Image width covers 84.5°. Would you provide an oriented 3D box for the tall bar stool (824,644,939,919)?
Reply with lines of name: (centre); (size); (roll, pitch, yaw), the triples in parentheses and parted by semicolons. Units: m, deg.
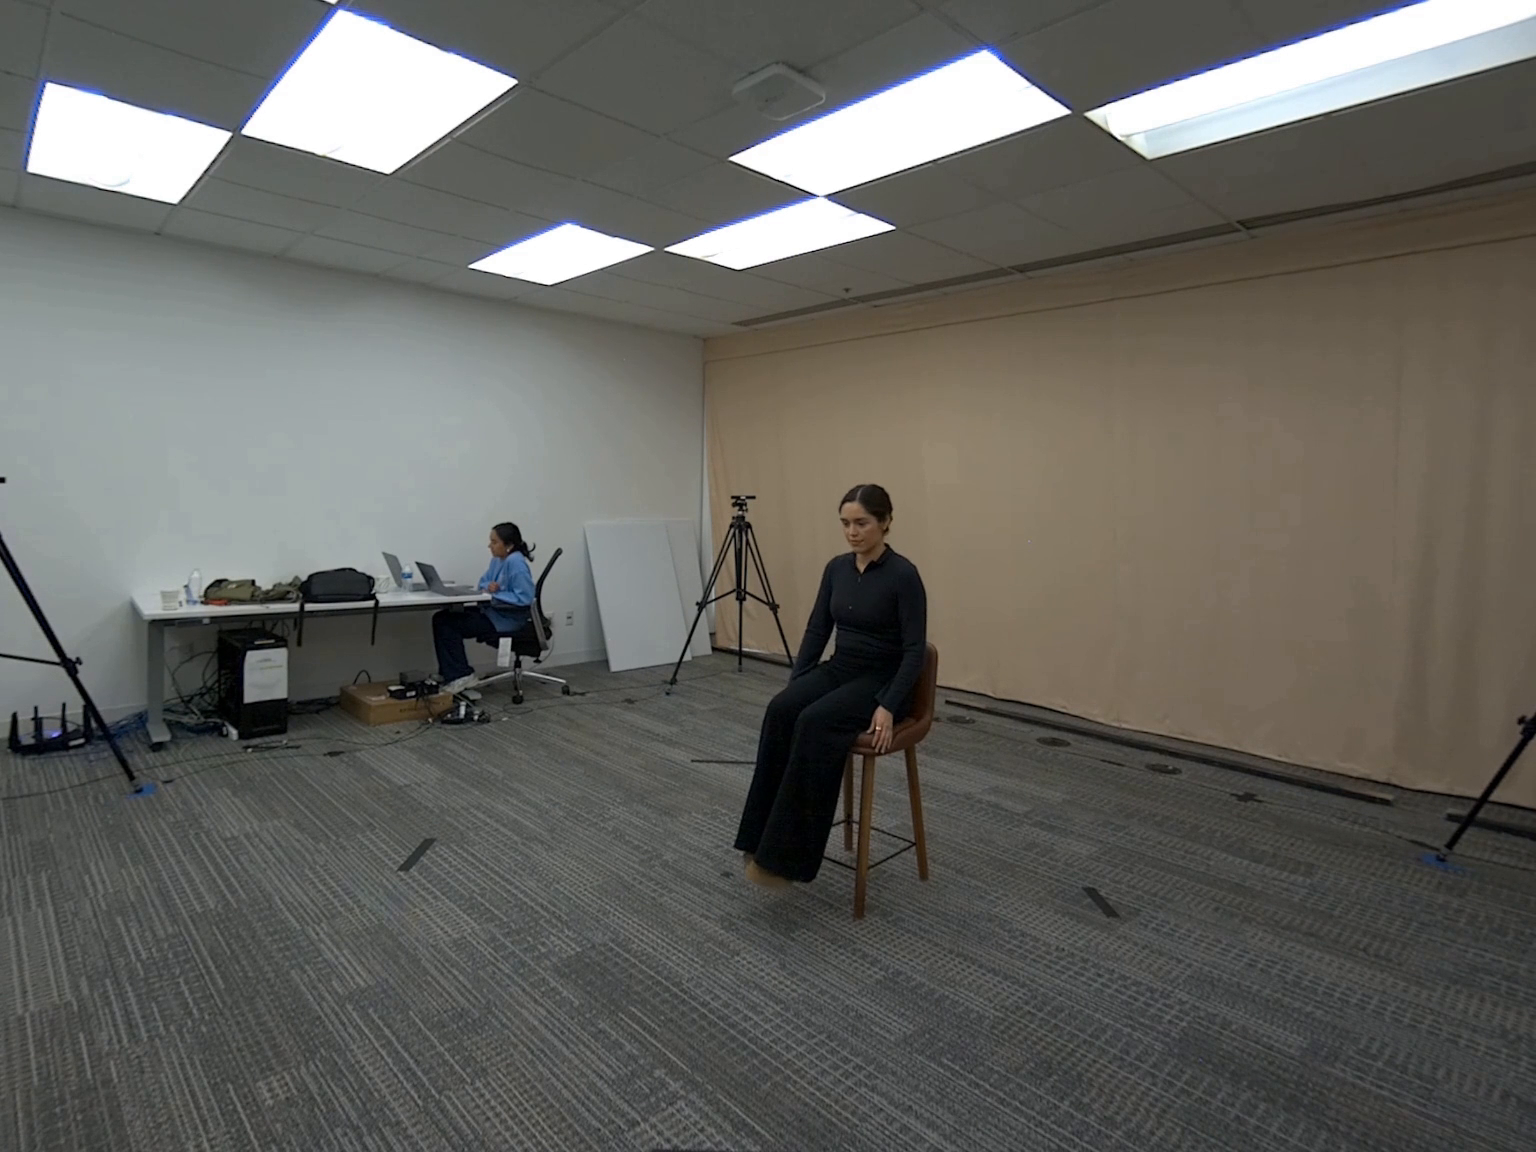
tall bar stool: (0.328, 0.682, 3.066); (0.468, 0.888, 0.456); (5, 3, 44)
